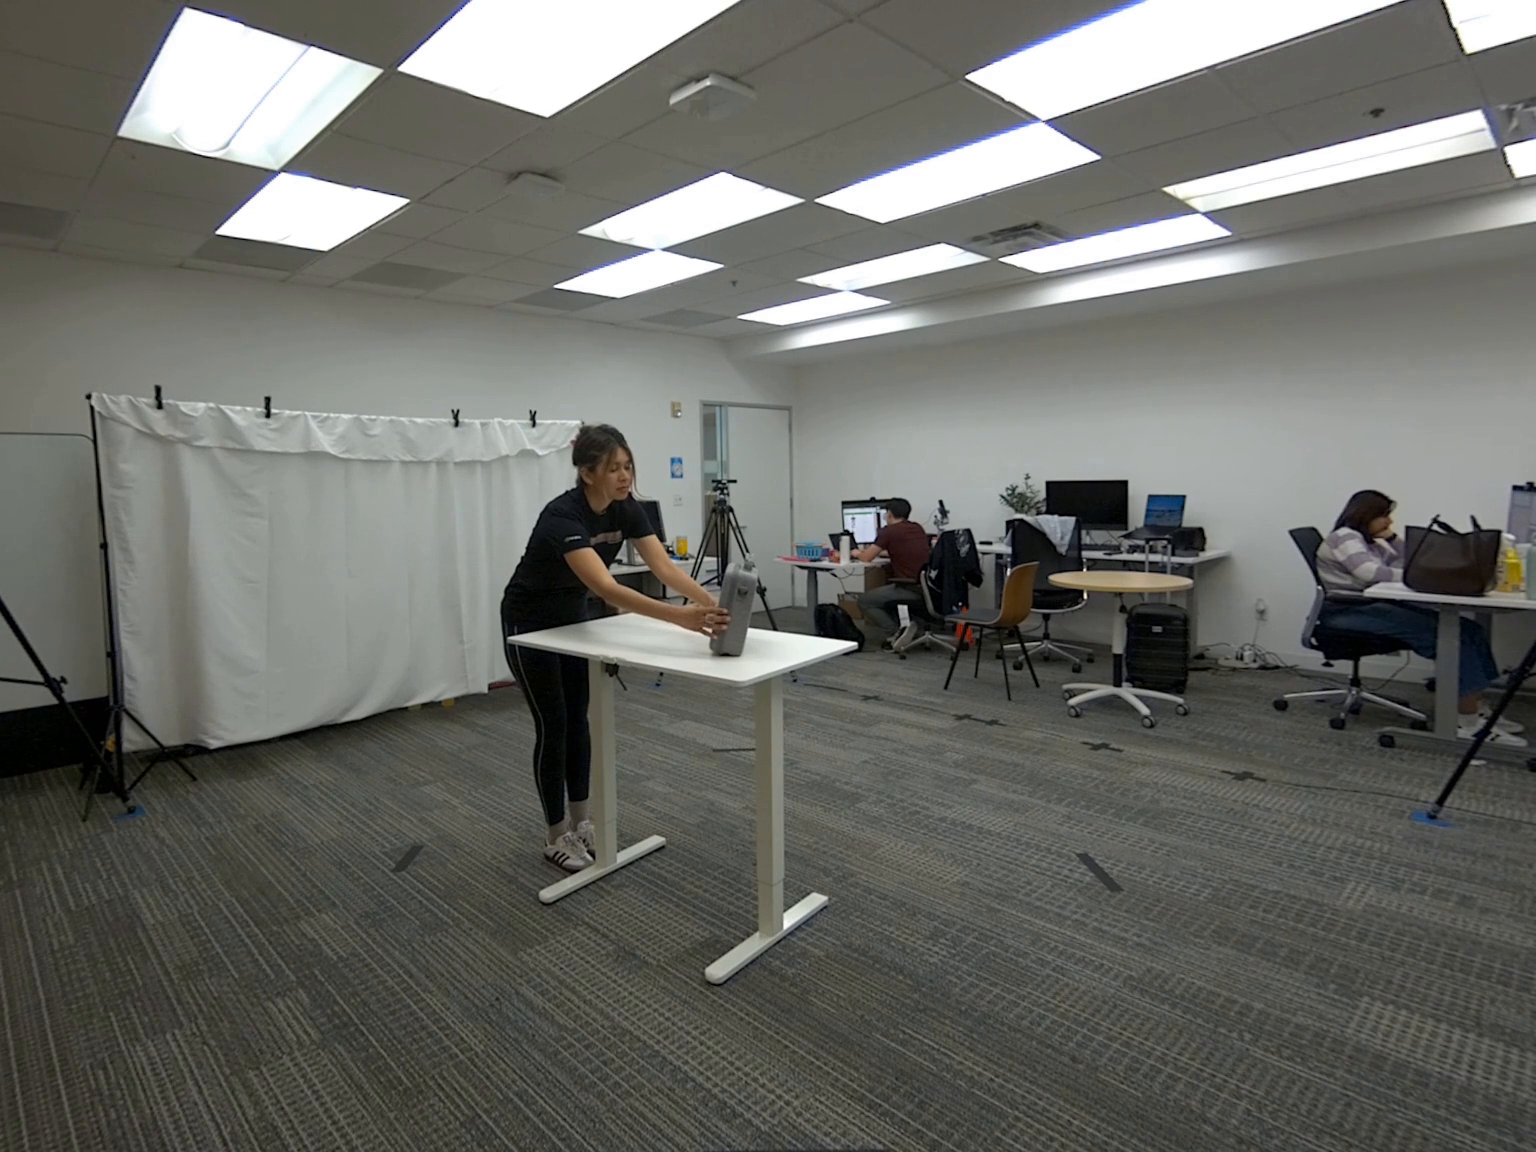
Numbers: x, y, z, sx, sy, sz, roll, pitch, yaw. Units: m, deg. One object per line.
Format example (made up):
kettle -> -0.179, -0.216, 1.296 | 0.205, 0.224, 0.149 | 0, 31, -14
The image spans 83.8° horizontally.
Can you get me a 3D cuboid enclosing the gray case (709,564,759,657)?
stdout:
gray case -> -0.088, 0.095, 2.611 | 0.104, 0.259, 0.259 | 10, 10, -1
